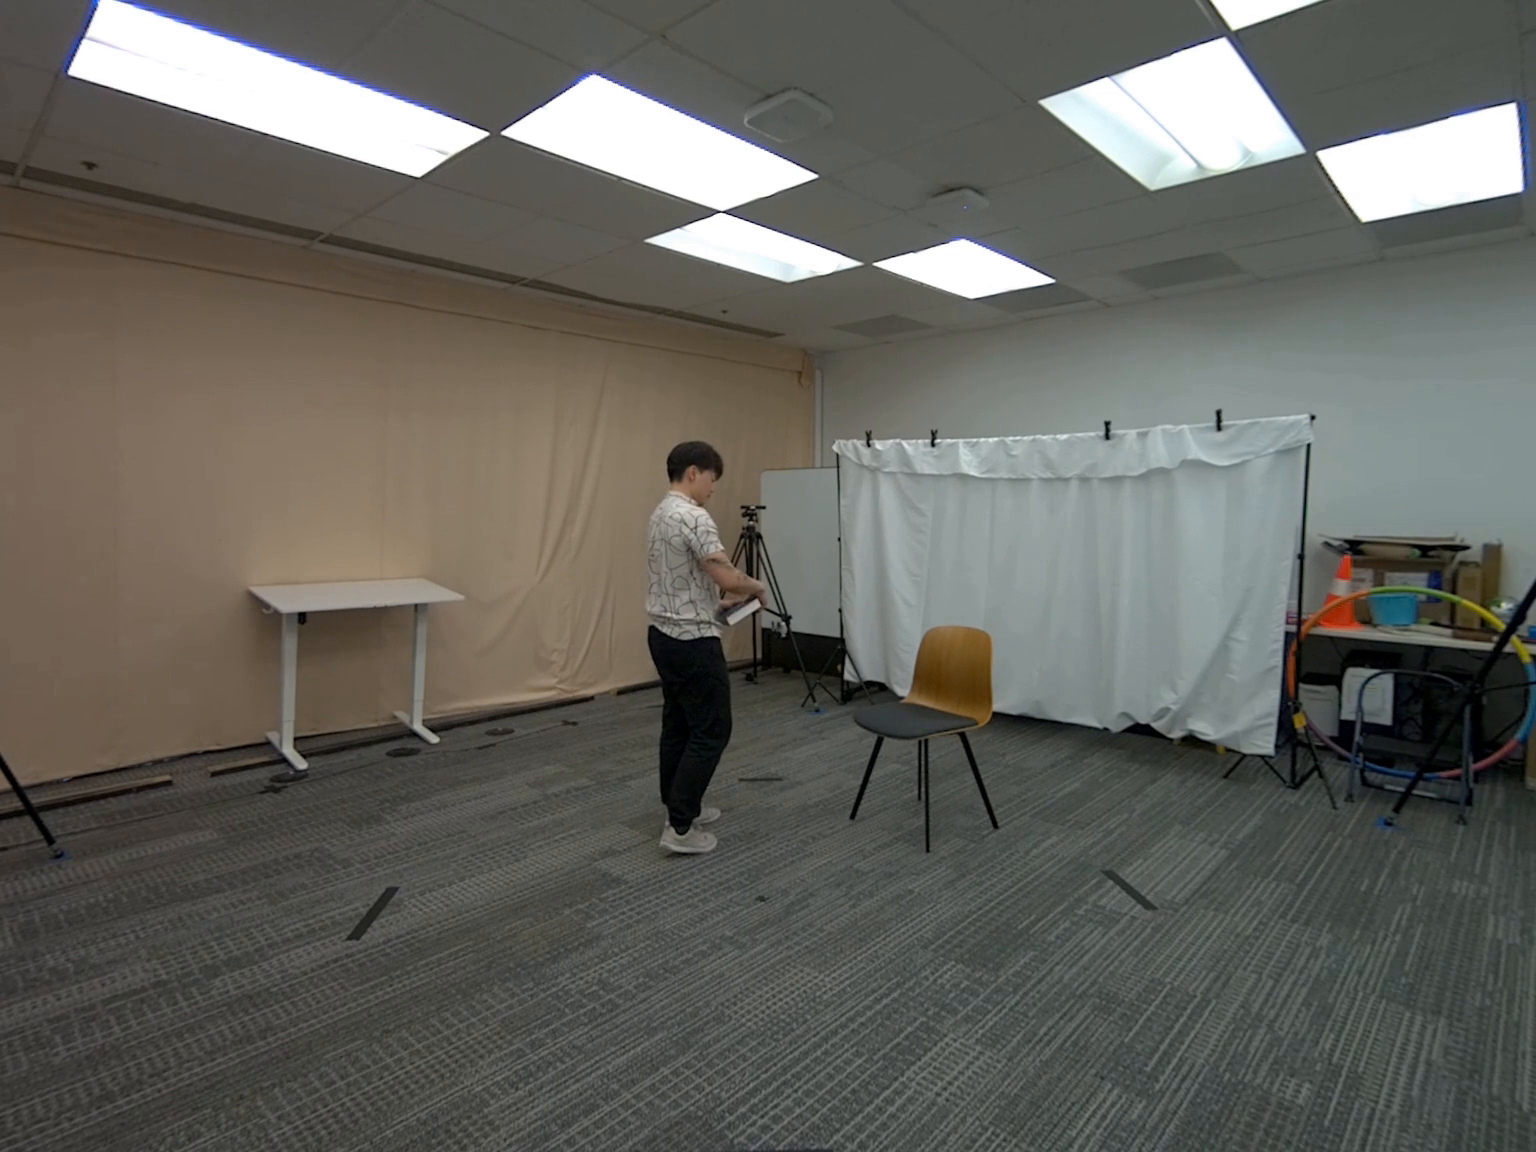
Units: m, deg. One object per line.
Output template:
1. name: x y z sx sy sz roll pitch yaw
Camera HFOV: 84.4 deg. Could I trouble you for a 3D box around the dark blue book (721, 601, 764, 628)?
1. dark blue book: -0.126 0.147 3.611 0.162 0.045 0.247 -28 6 -8
